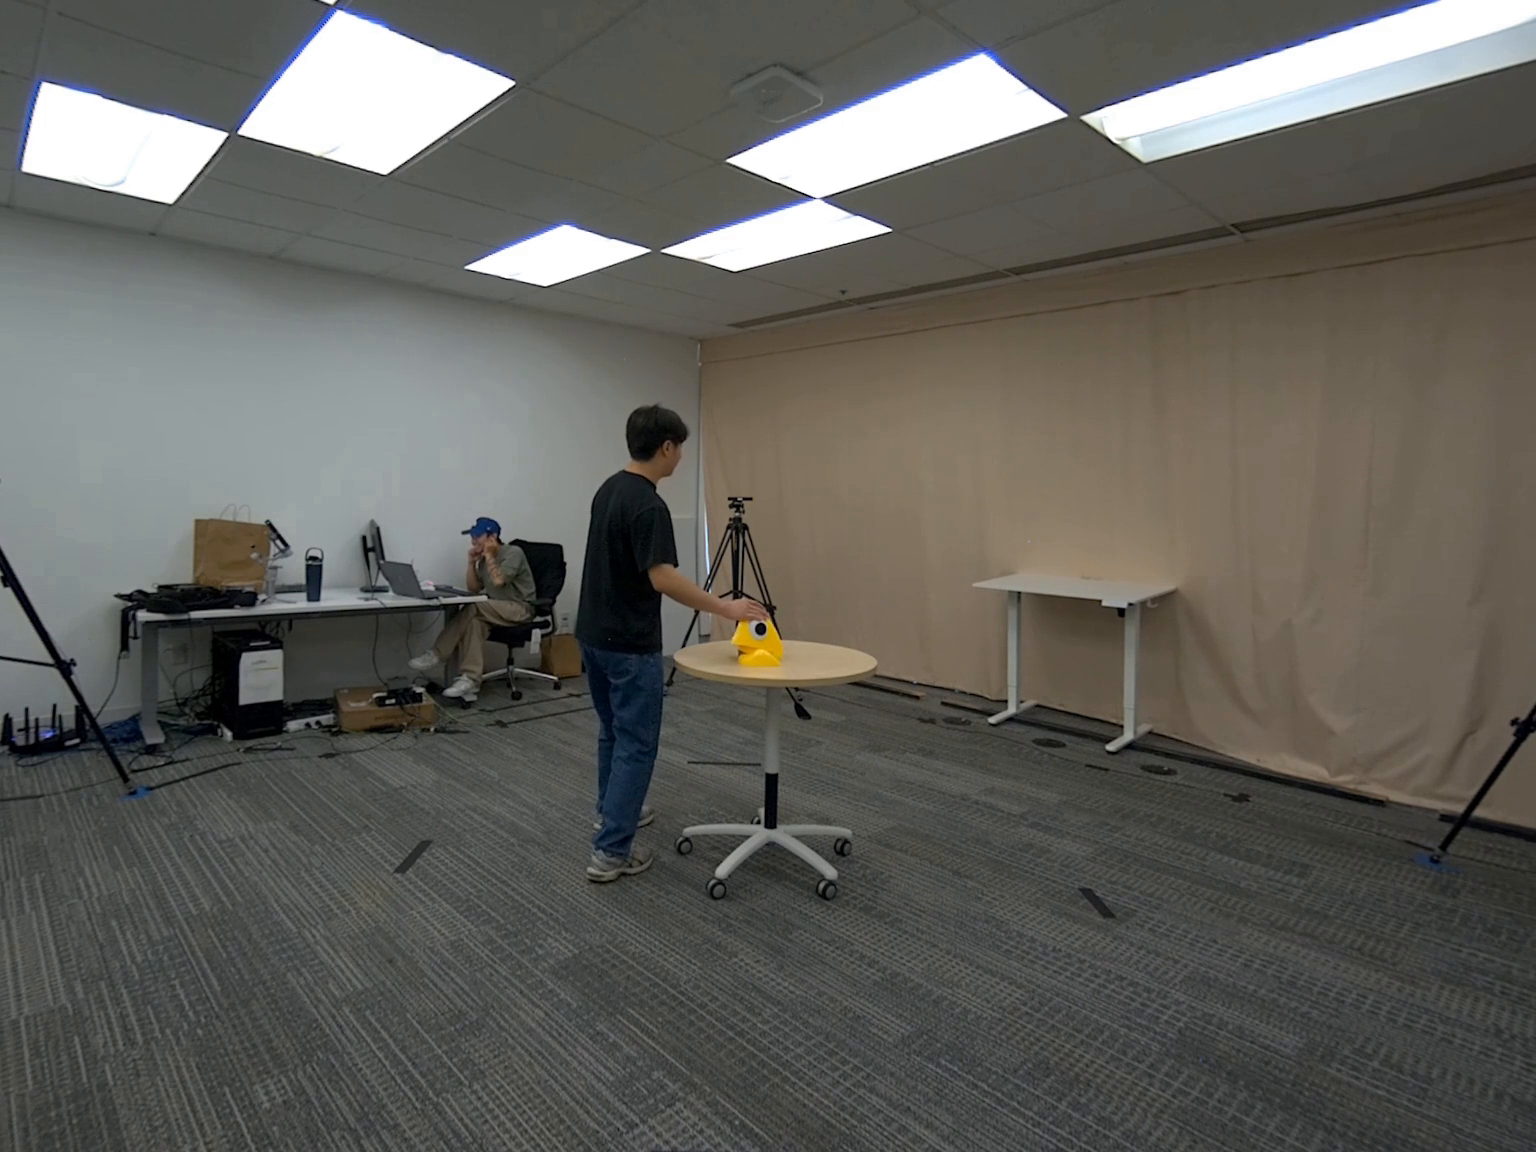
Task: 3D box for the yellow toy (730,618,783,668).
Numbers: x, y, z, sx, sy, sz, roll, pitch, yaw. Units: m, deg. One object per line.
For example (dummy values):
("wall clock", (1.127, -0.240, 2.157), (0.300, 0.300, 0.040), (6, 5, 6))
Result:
("yellow toy", (-0.046, 0.200, 3.095), (0.194, 0.230, 0.204), (2, 2, 3))
